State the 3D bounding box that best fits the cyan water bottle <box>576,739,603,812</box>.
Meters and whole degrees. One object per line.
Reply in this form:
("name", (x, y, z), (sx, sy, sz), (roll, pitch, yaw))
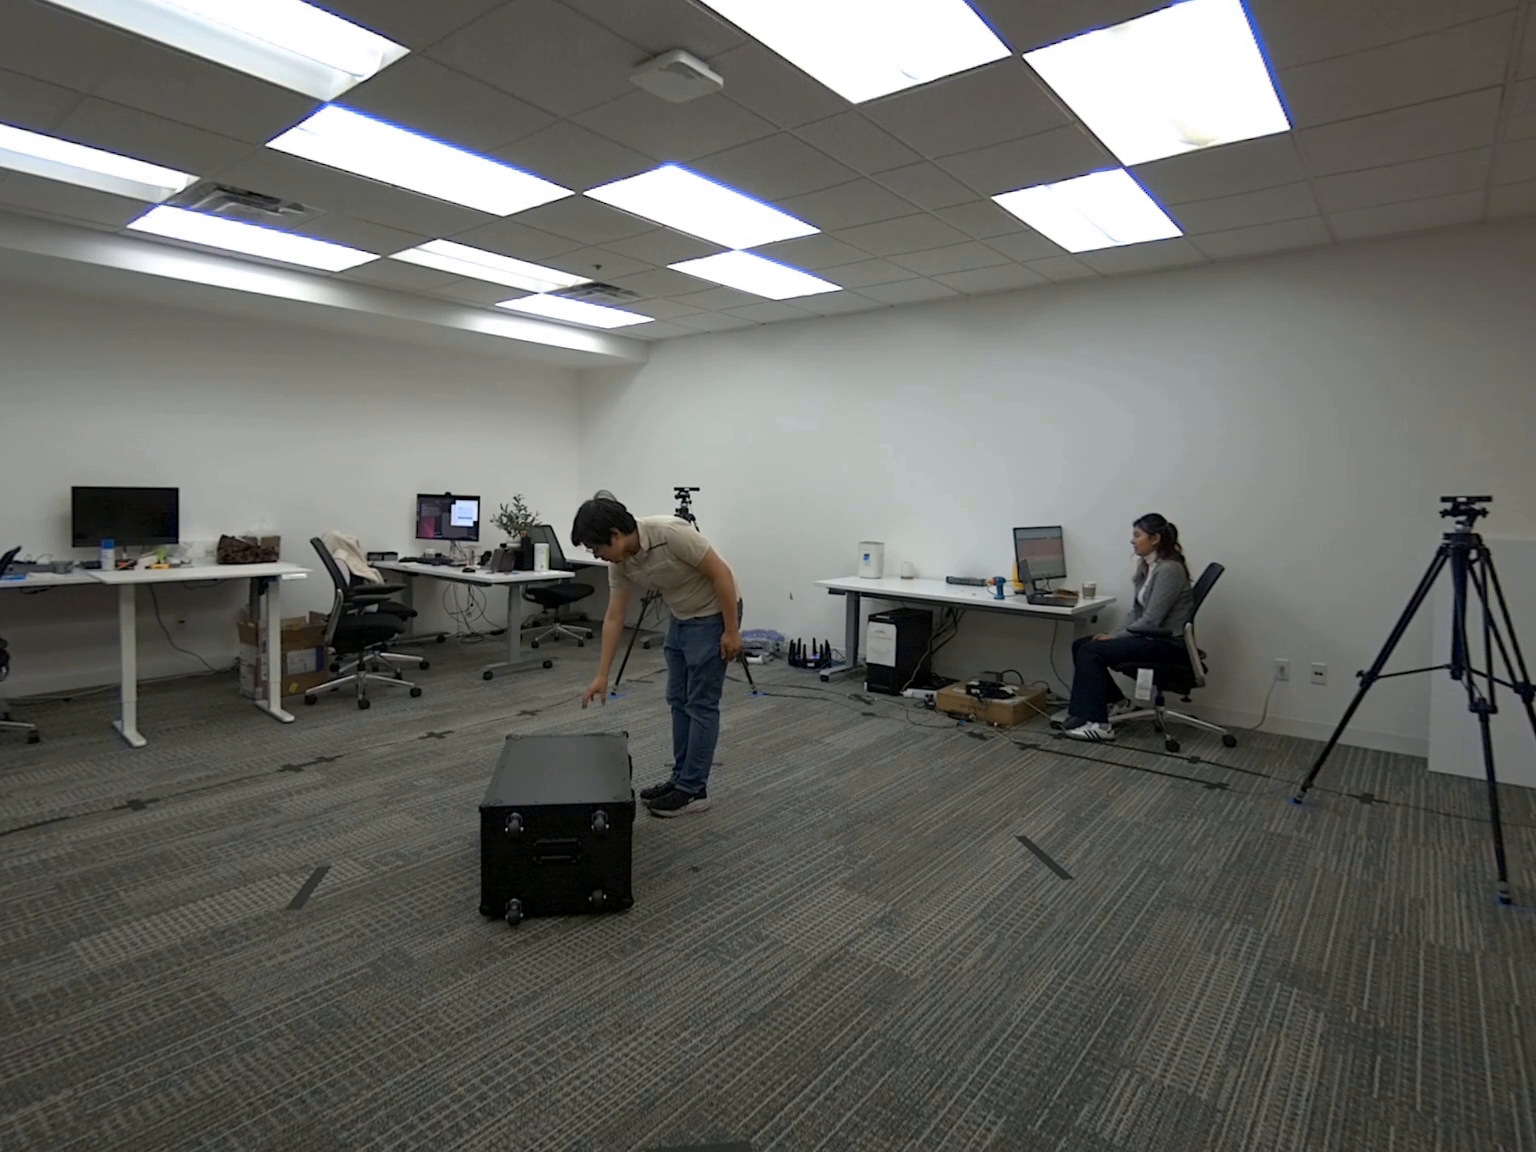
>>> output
("cyan water bottle", (-0.773, 0.859, 3.632), (0.092, 0.282, 0.093), (0, 4, -2))
